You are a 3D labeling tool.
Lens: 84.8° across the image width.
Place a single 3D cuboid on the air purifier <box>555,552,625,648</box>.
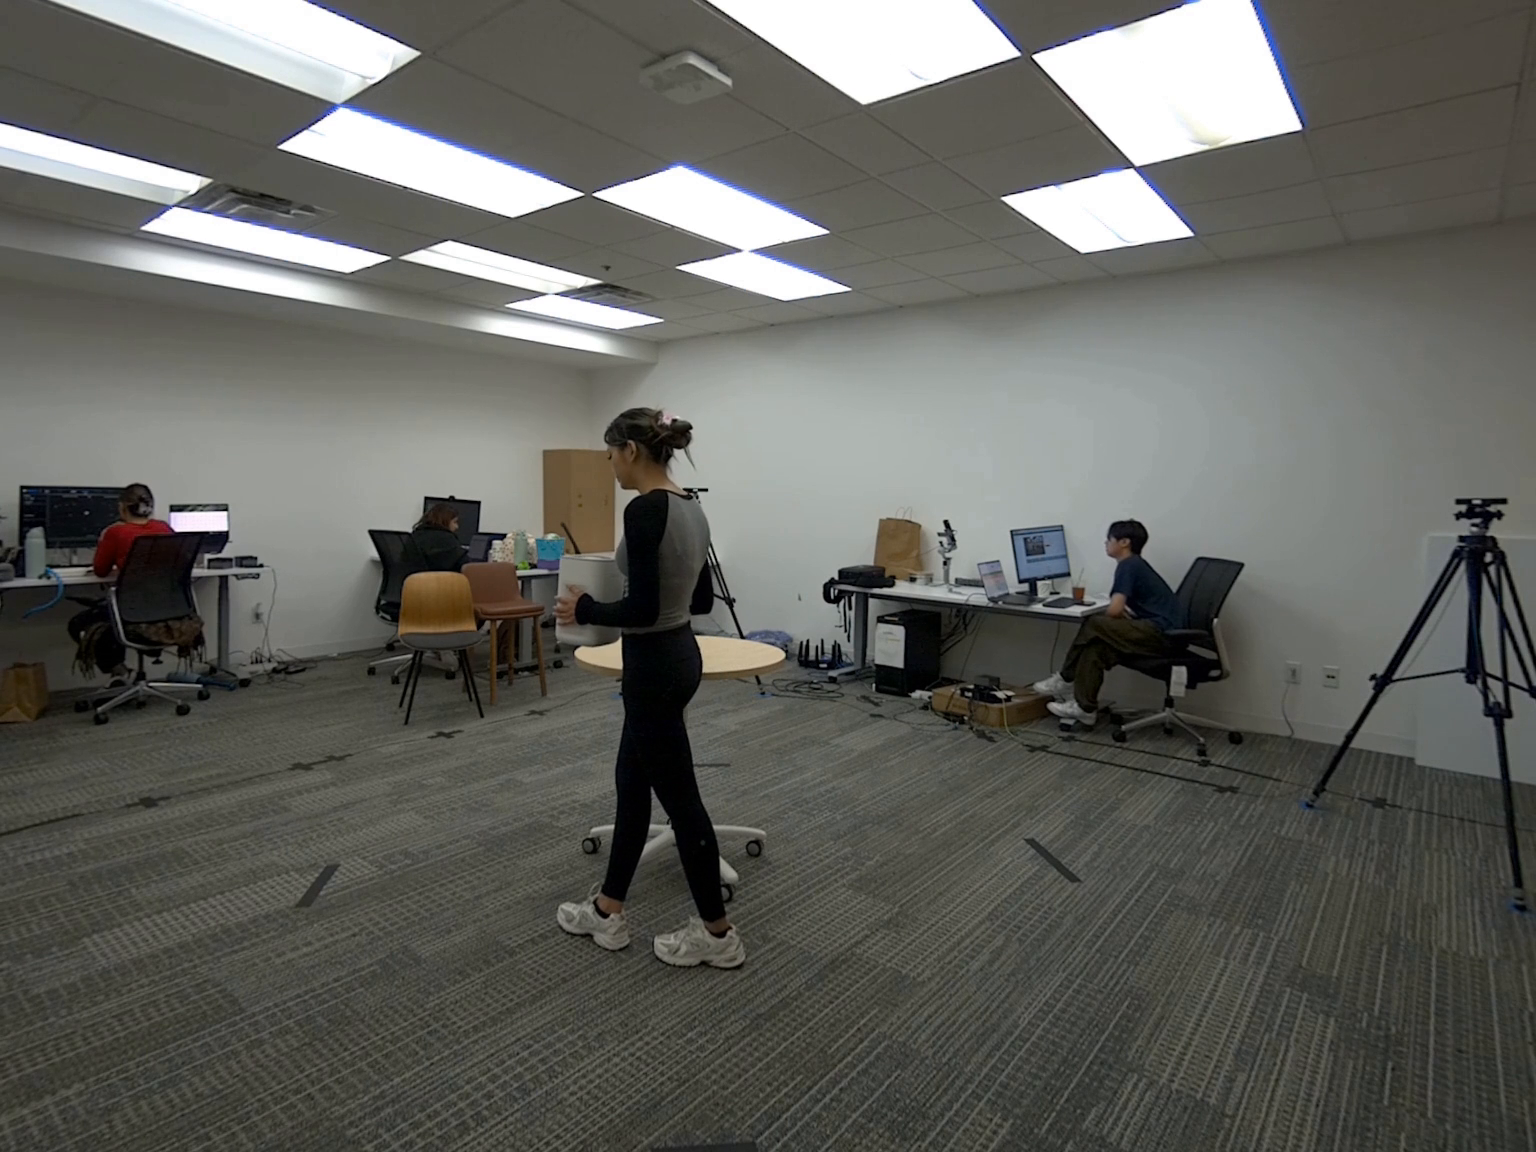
[{"bbox_3d":[-0.550,0.072,2.599,0.175,0.265,0.168,4,1,19],"label":"air purifier"}]
